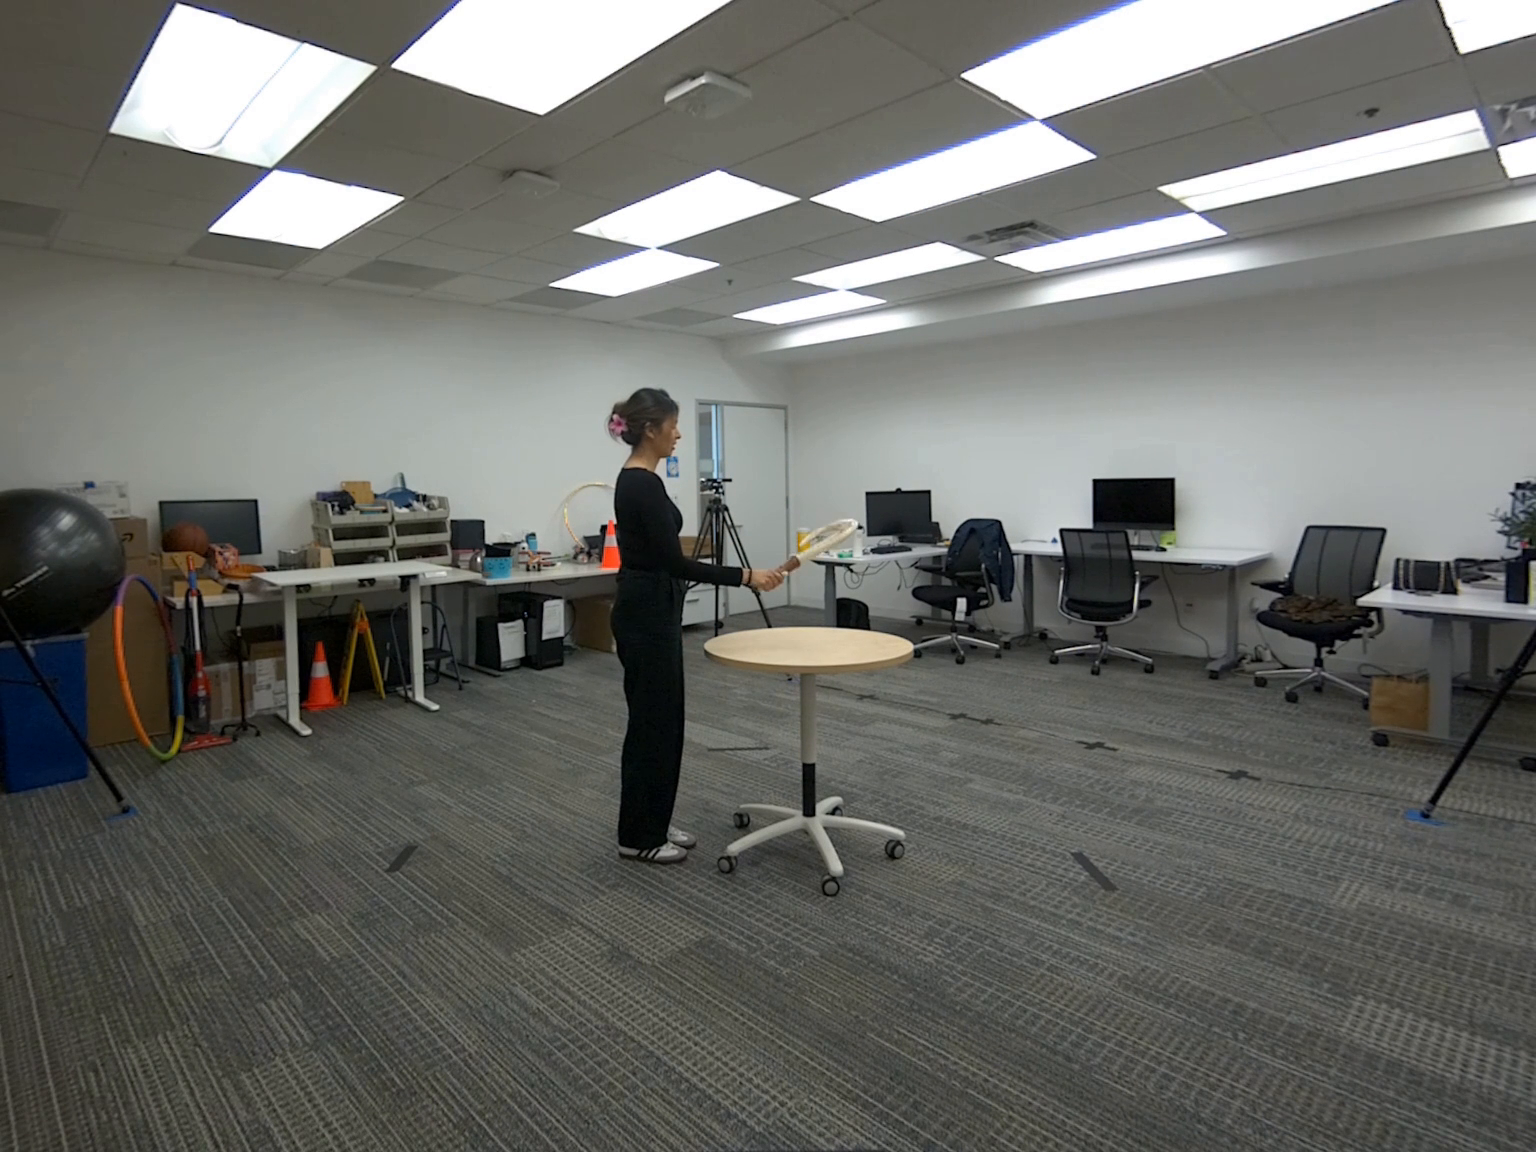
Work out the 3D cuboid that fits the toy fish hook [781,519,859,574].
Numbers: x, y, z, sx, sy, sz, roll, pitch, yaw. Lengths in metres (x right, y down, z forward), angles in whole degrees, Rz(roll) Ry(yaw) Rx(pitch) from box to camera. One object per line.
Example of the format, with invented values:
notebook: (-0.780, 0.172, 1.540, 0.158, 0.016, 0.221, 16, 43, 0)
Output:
toy fish hook: (0.116, -0.082, 3.155, 0.503, 0.047, 0.230, -33, 16, -22)
